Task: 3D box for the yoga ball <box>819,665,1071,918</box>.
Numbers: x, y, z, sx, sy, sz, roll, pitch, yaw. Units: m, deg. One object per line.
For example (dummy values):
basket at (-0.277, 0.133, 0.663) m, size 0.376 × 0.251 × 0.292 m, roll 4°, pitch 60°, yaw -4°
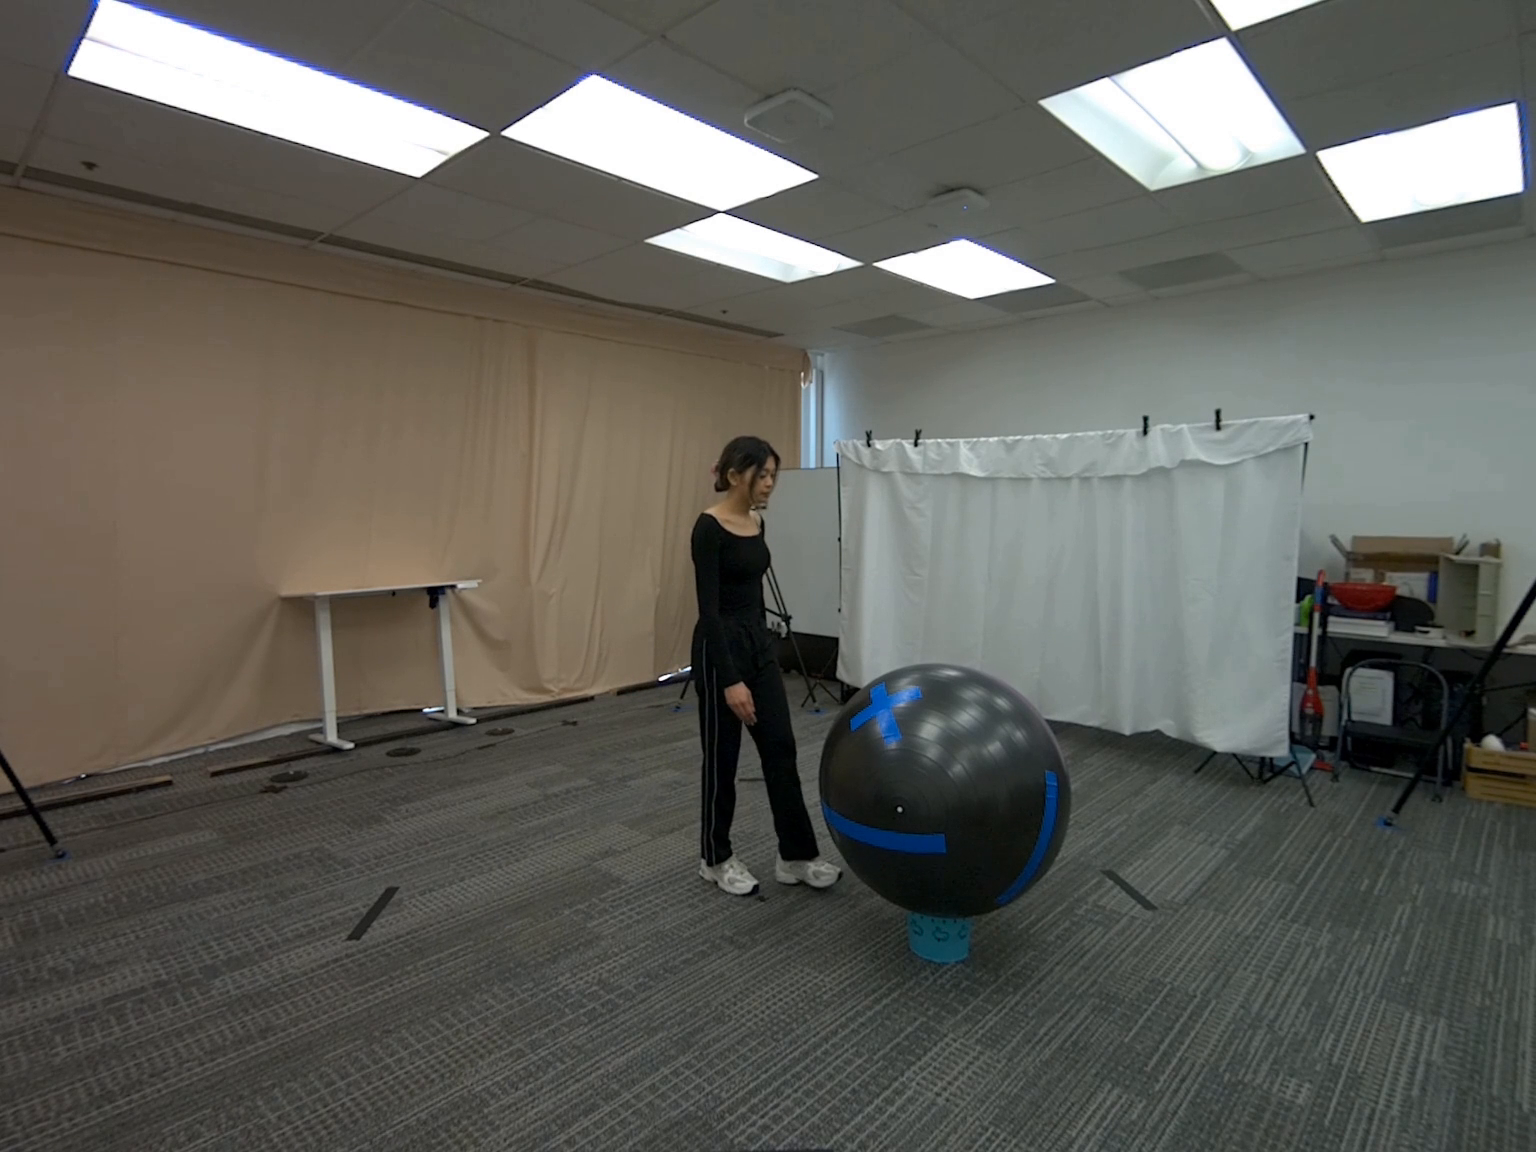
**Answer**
yoga ball at (0.549, 0.659, 2.636) m, size 0.757 × 0.756 × 0.760 m, roll 0°, pitch 4°, yaw -2°
